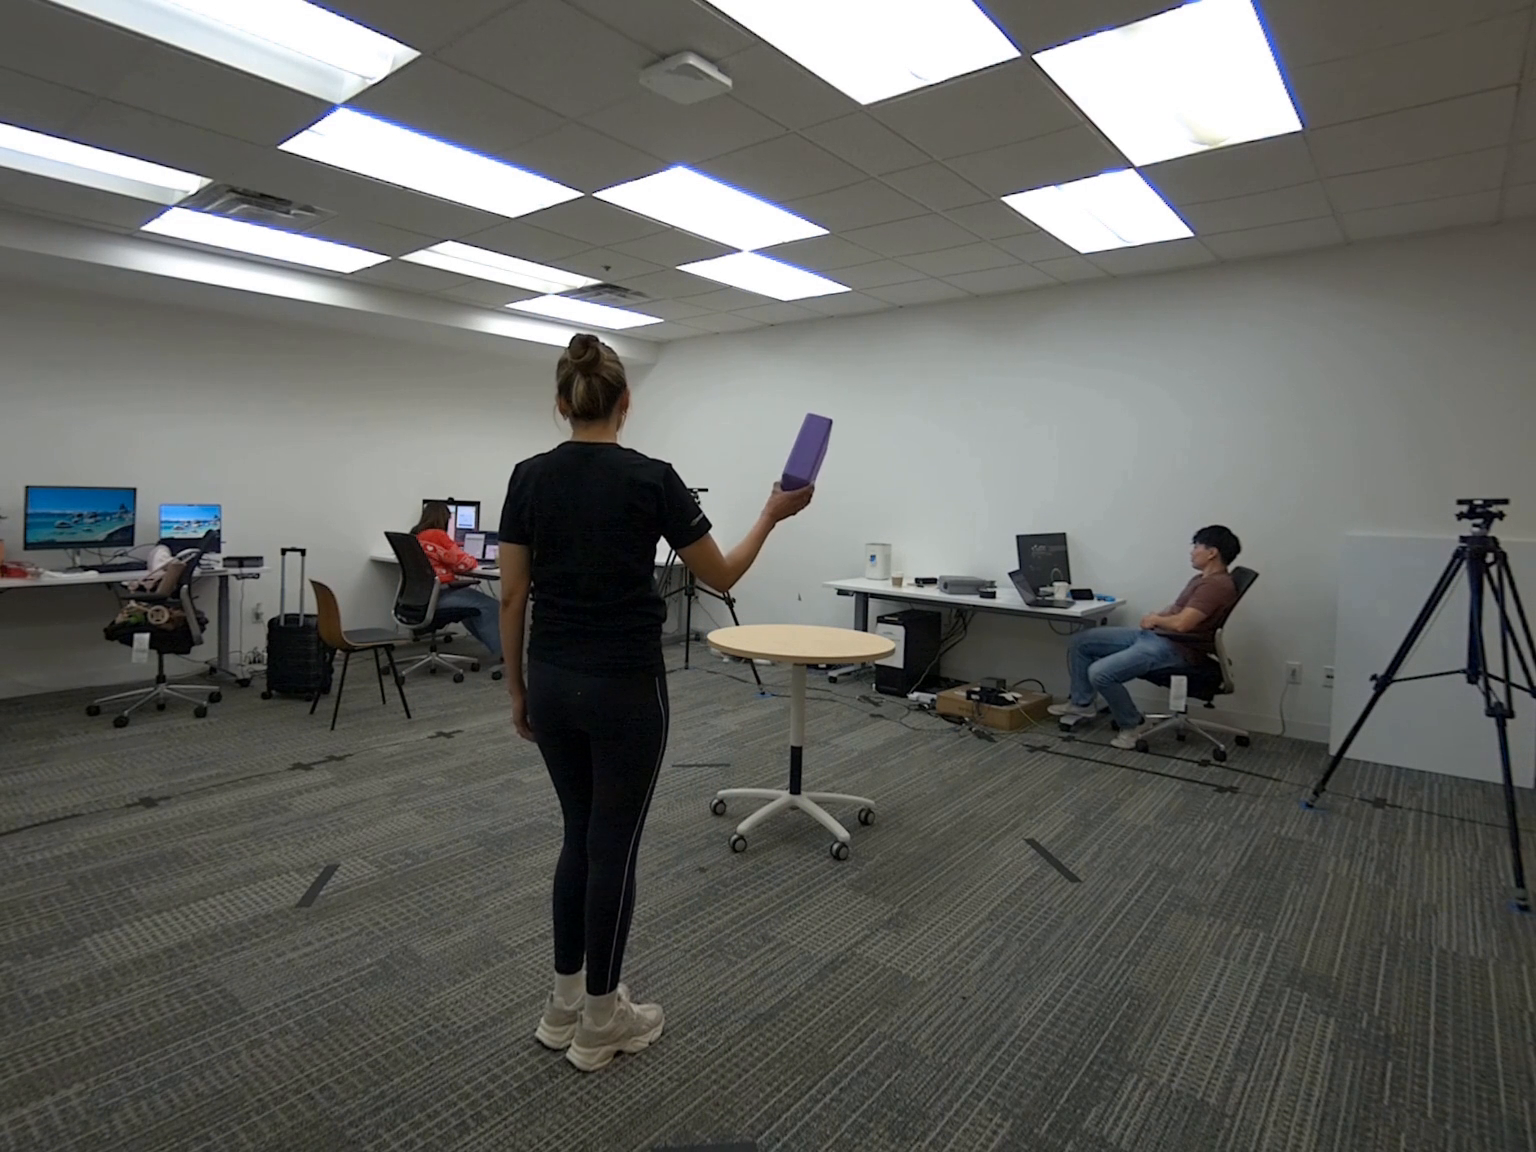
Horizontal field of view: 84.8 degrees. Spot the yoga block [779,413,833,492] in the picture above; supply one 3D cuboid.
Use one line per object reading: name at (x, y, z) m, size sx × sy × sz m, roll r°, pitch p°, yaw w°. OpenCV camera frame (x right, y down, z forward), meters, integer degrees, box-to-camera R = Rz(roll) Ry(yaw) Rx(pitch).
yoga block at (0.097, -0.313, 2.350) m, size 0.077 × 0.232 × 0.146 m, roll 20°, pitch -27°, yaw 7°
